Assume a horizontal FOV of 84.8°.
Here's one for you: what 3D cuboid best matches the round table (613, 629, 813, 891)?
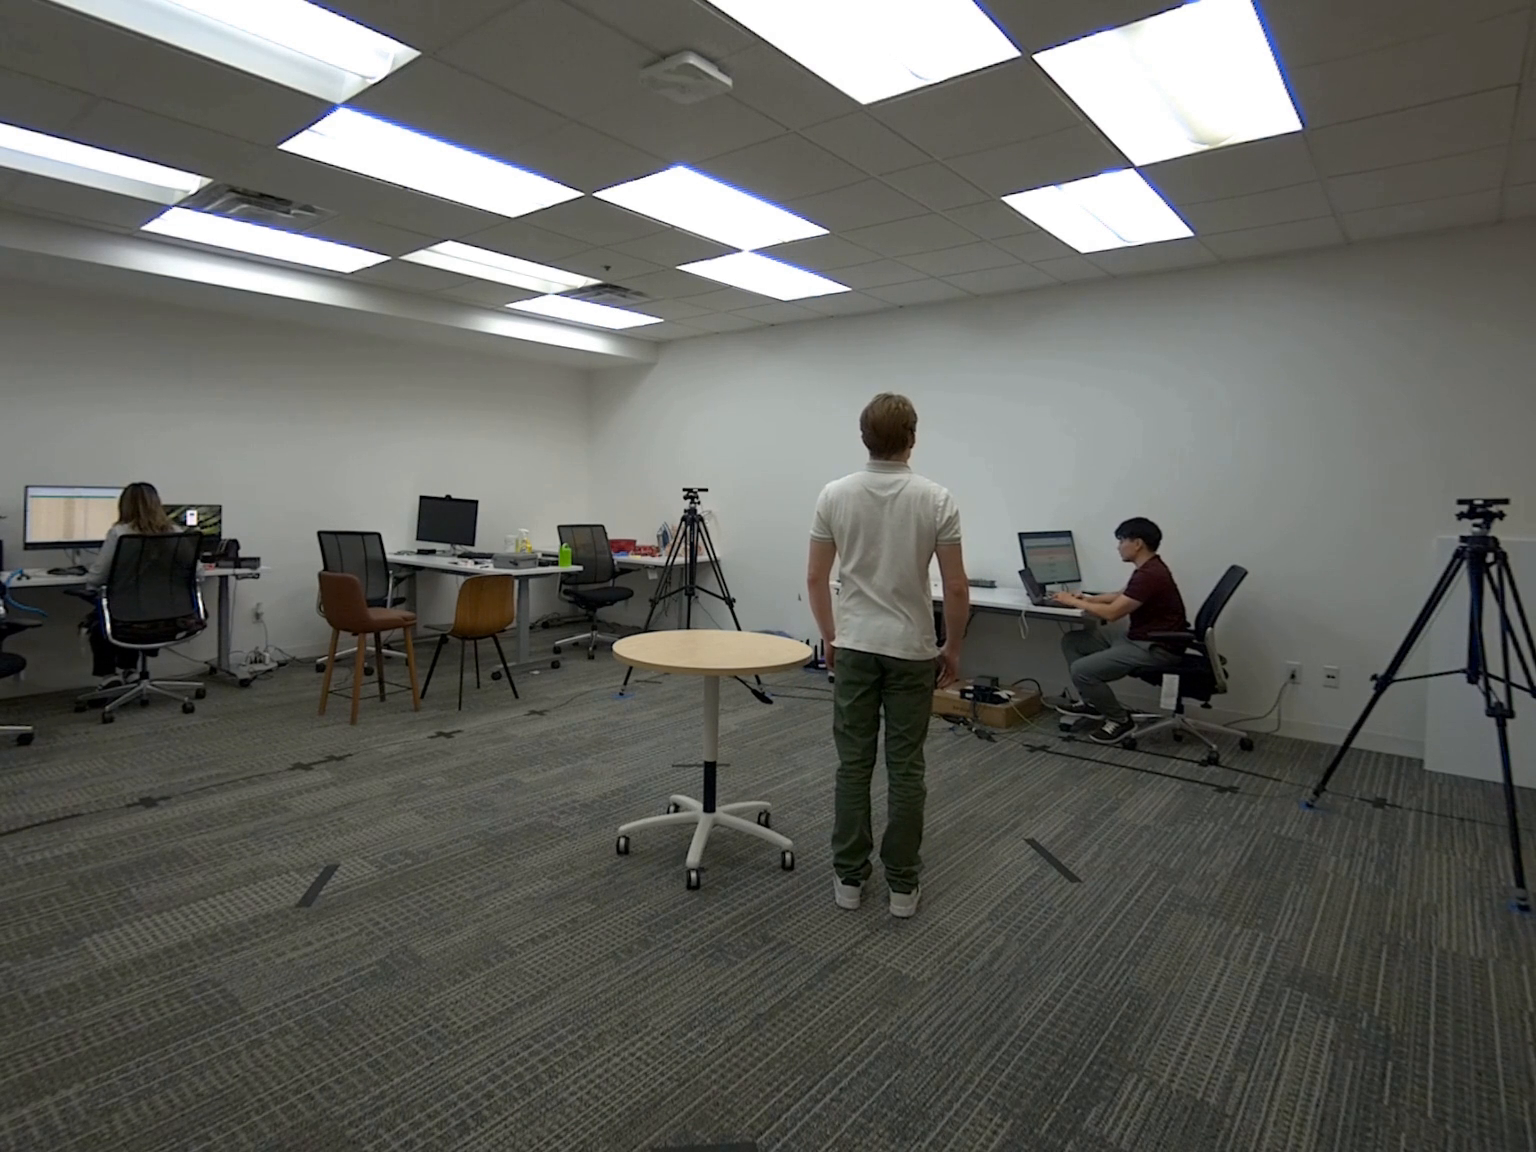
[{"bbox_3d":[-0.234,0.658,3.300,0.784,0.783,0.789,1,5,-2],"label":"round table"}]
